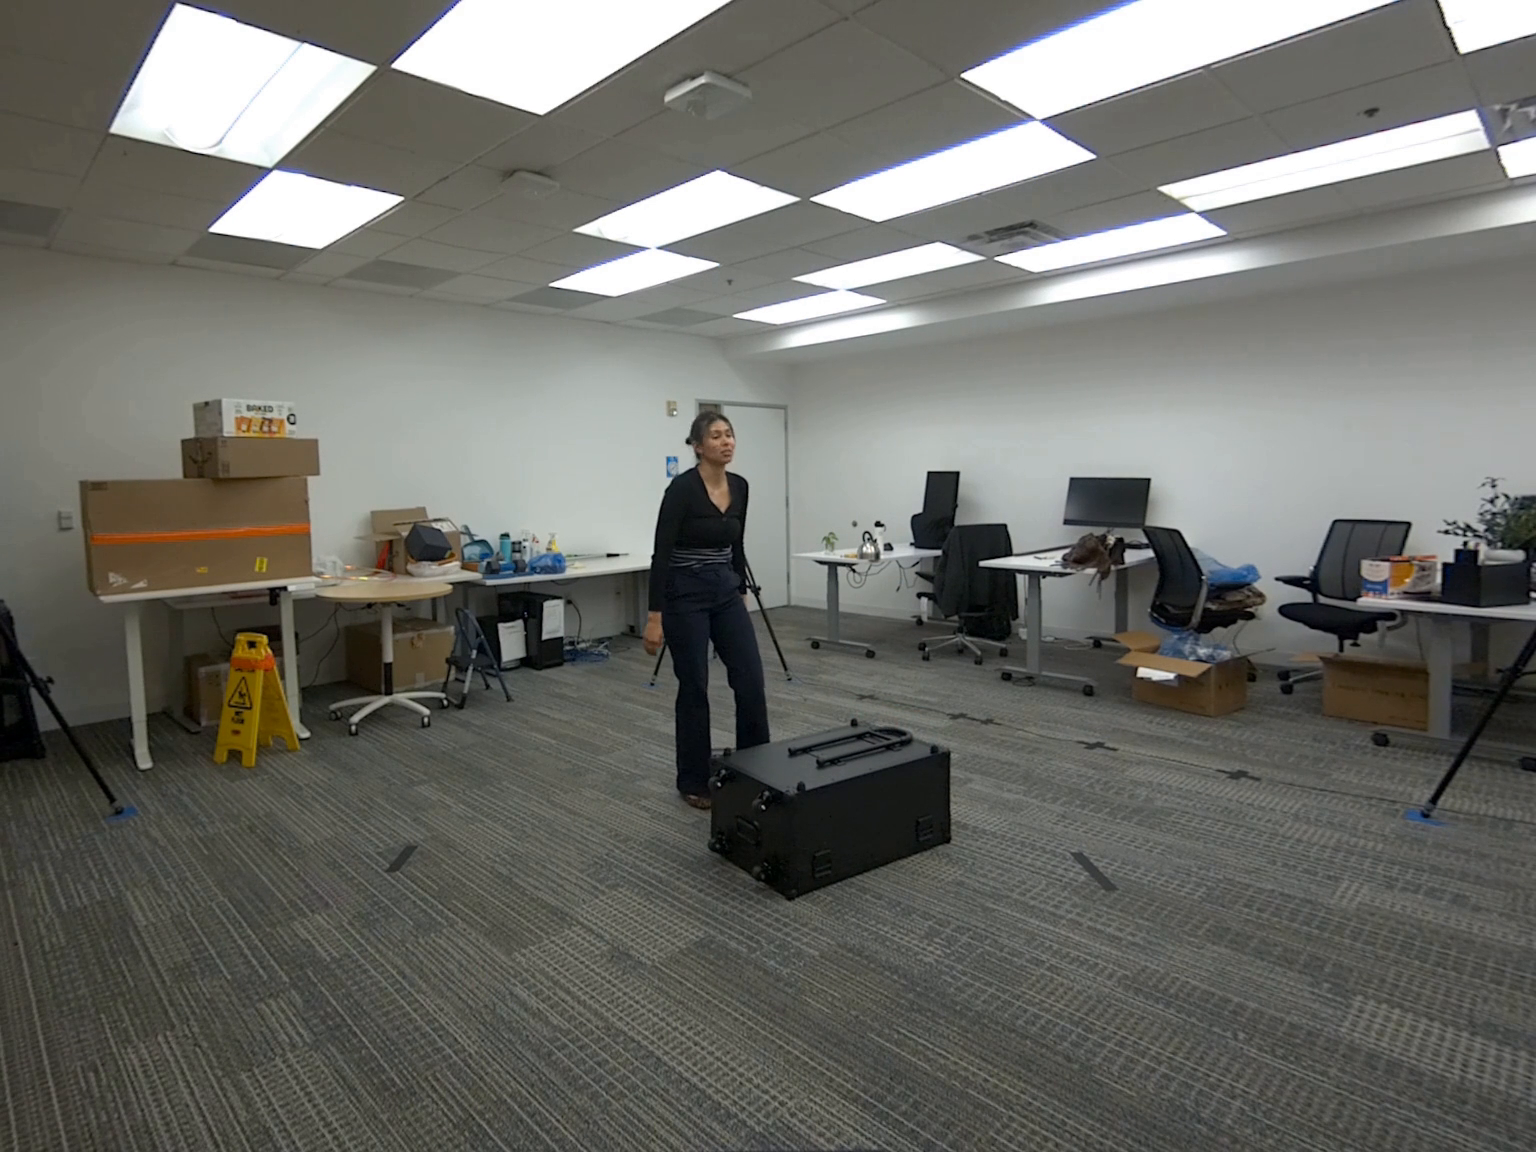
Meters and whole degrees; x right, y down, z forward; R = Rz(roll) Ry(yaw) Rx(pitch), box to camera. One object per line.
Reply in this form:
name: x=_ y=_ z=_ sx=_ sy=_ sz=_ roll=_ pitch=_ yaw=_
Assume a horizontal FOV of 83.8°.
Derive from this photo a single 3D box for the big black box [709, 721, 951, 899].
big black box: x=0.262 y=0.848 z=3.238 sx=0.840 sy=0.395 sz=0.536 roll=-5 pitch=6 yaw=-35
